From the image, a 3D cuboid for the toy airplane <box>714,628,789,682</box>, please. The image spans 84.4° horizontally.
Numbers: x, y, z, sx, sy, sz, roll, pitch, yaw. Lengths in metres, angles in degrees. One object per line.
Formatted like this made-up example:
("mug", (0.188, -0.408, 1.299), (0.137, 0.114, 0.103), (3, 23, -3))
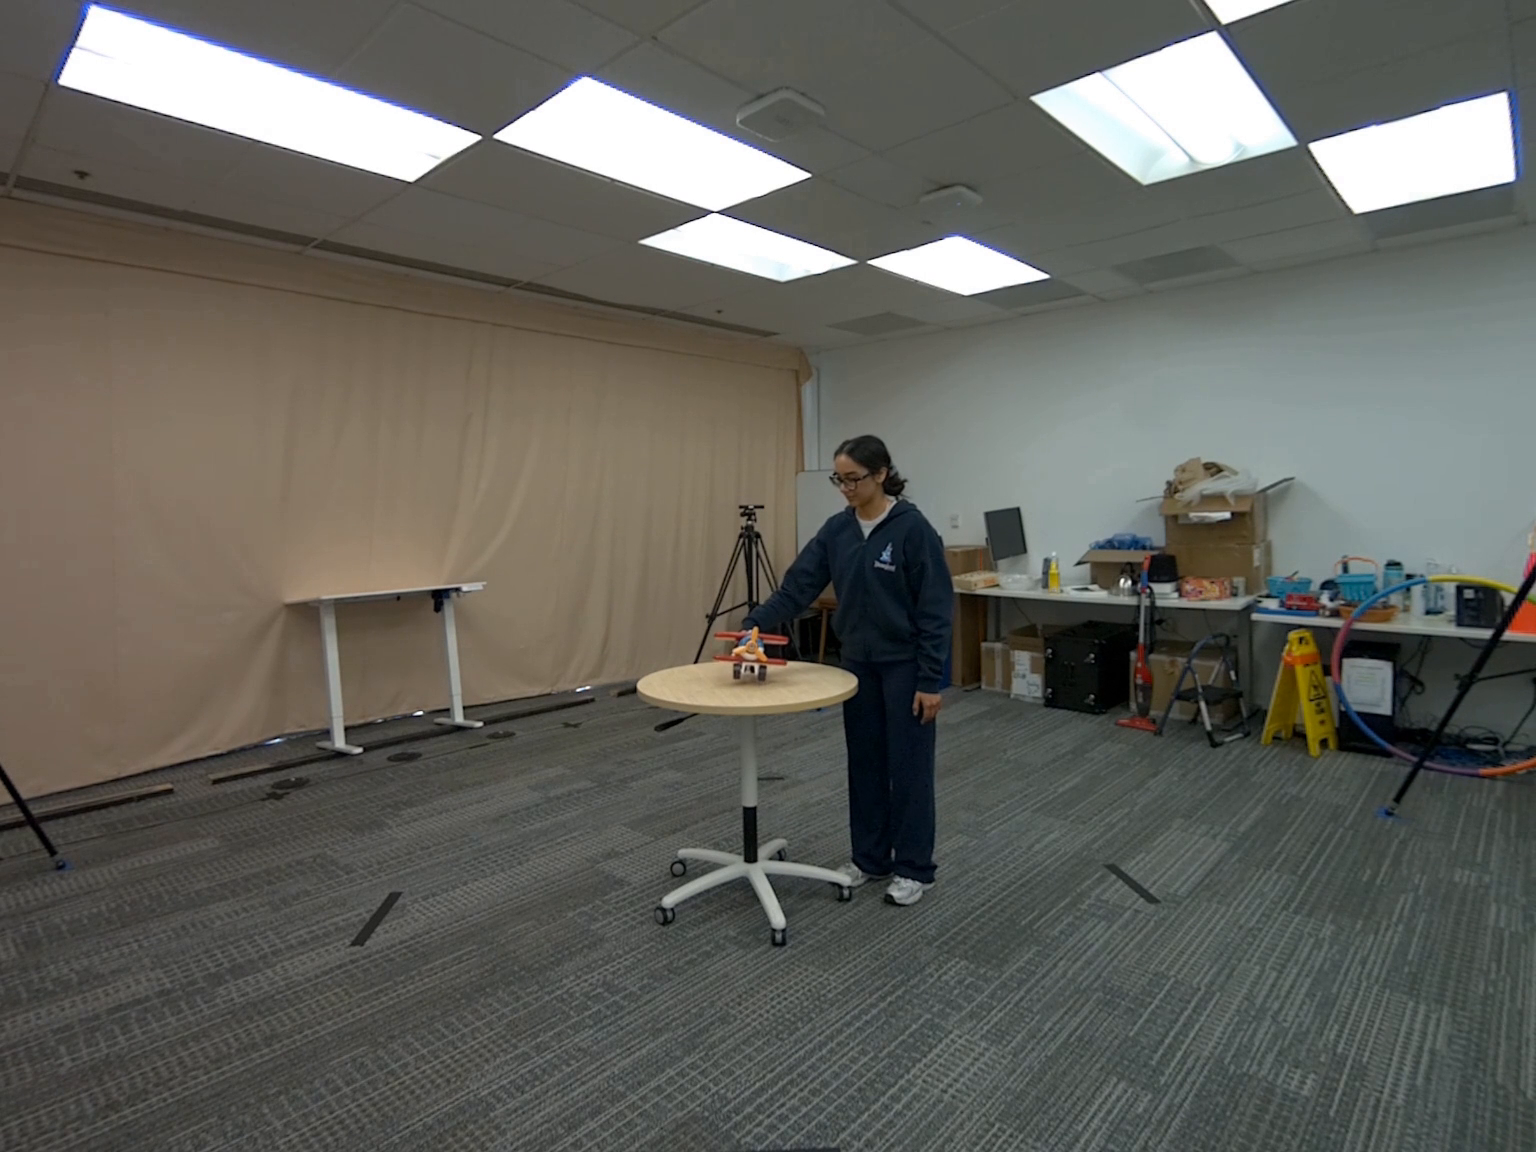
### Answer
("toy airplane", (-0.075, 0.271, 2.923), (0.245, 0.156, 0.266), (4, 1, -25))
